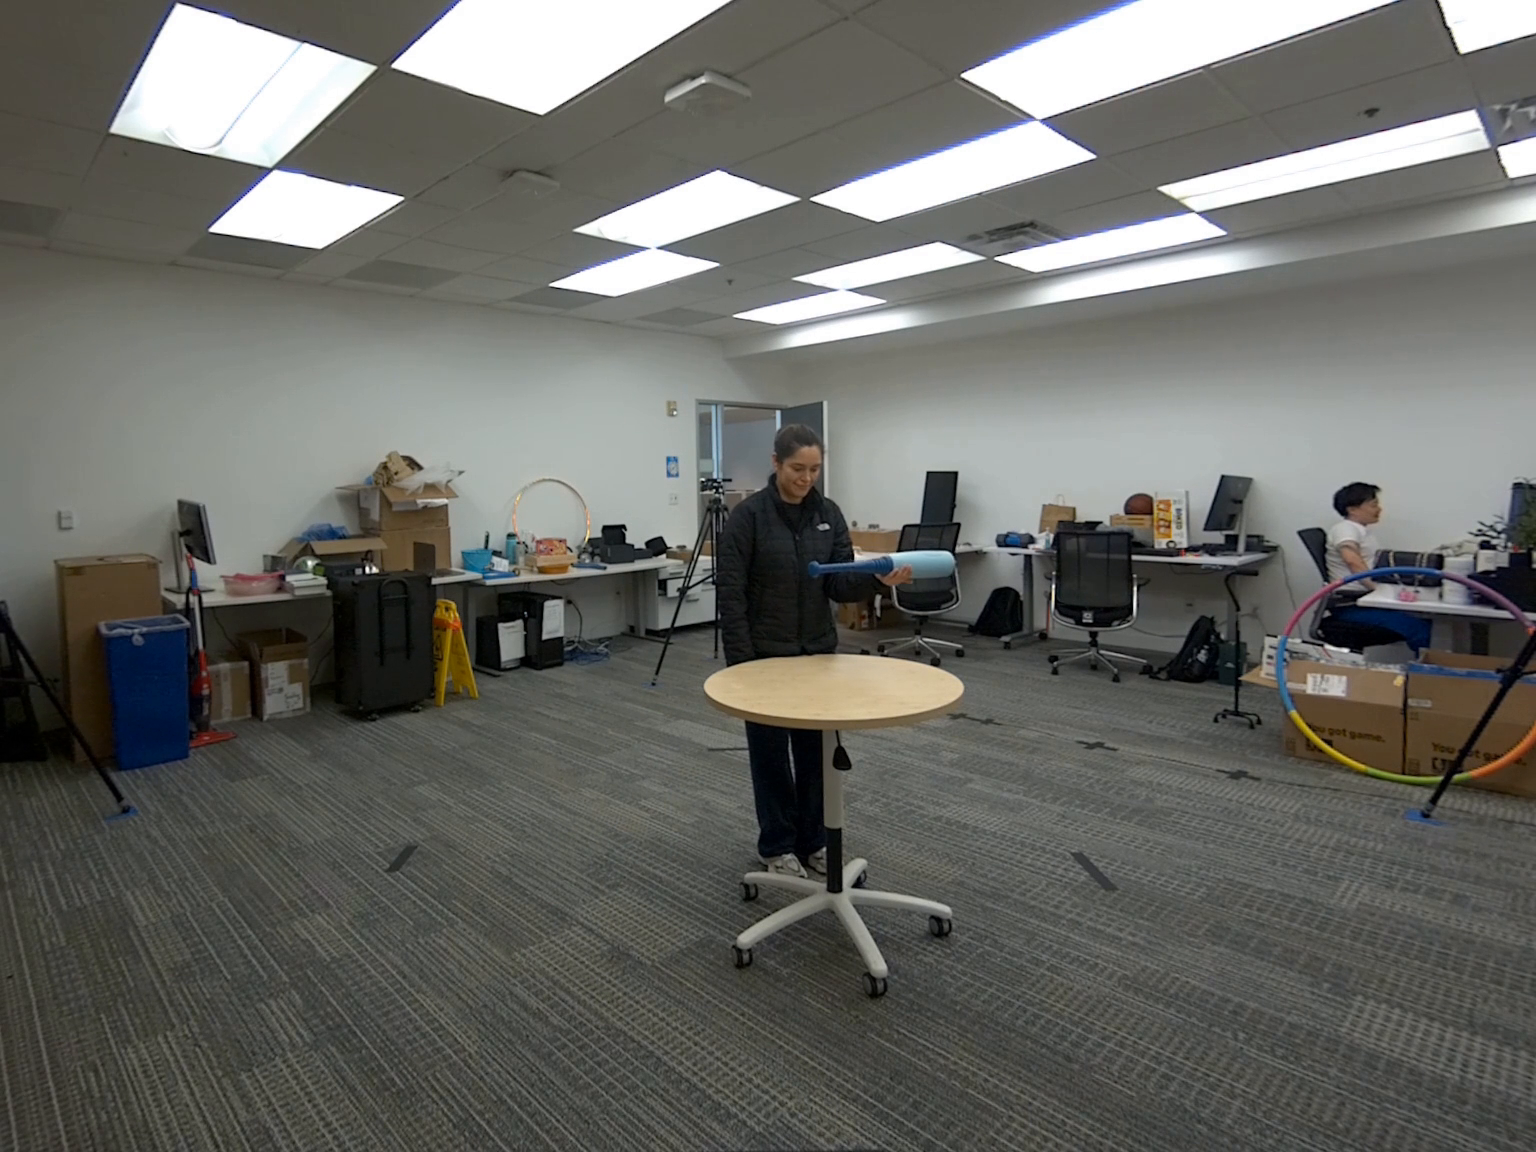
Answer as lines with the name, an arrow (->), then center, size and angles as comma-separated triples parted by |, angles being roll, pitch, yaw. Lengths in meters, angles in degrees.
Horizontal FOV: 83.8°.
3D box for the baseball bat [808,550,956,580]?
baseball bat -> 0.362, -0.031, 2.783 | 0.533, 0.089, 0.091 | -2, 5, -21
